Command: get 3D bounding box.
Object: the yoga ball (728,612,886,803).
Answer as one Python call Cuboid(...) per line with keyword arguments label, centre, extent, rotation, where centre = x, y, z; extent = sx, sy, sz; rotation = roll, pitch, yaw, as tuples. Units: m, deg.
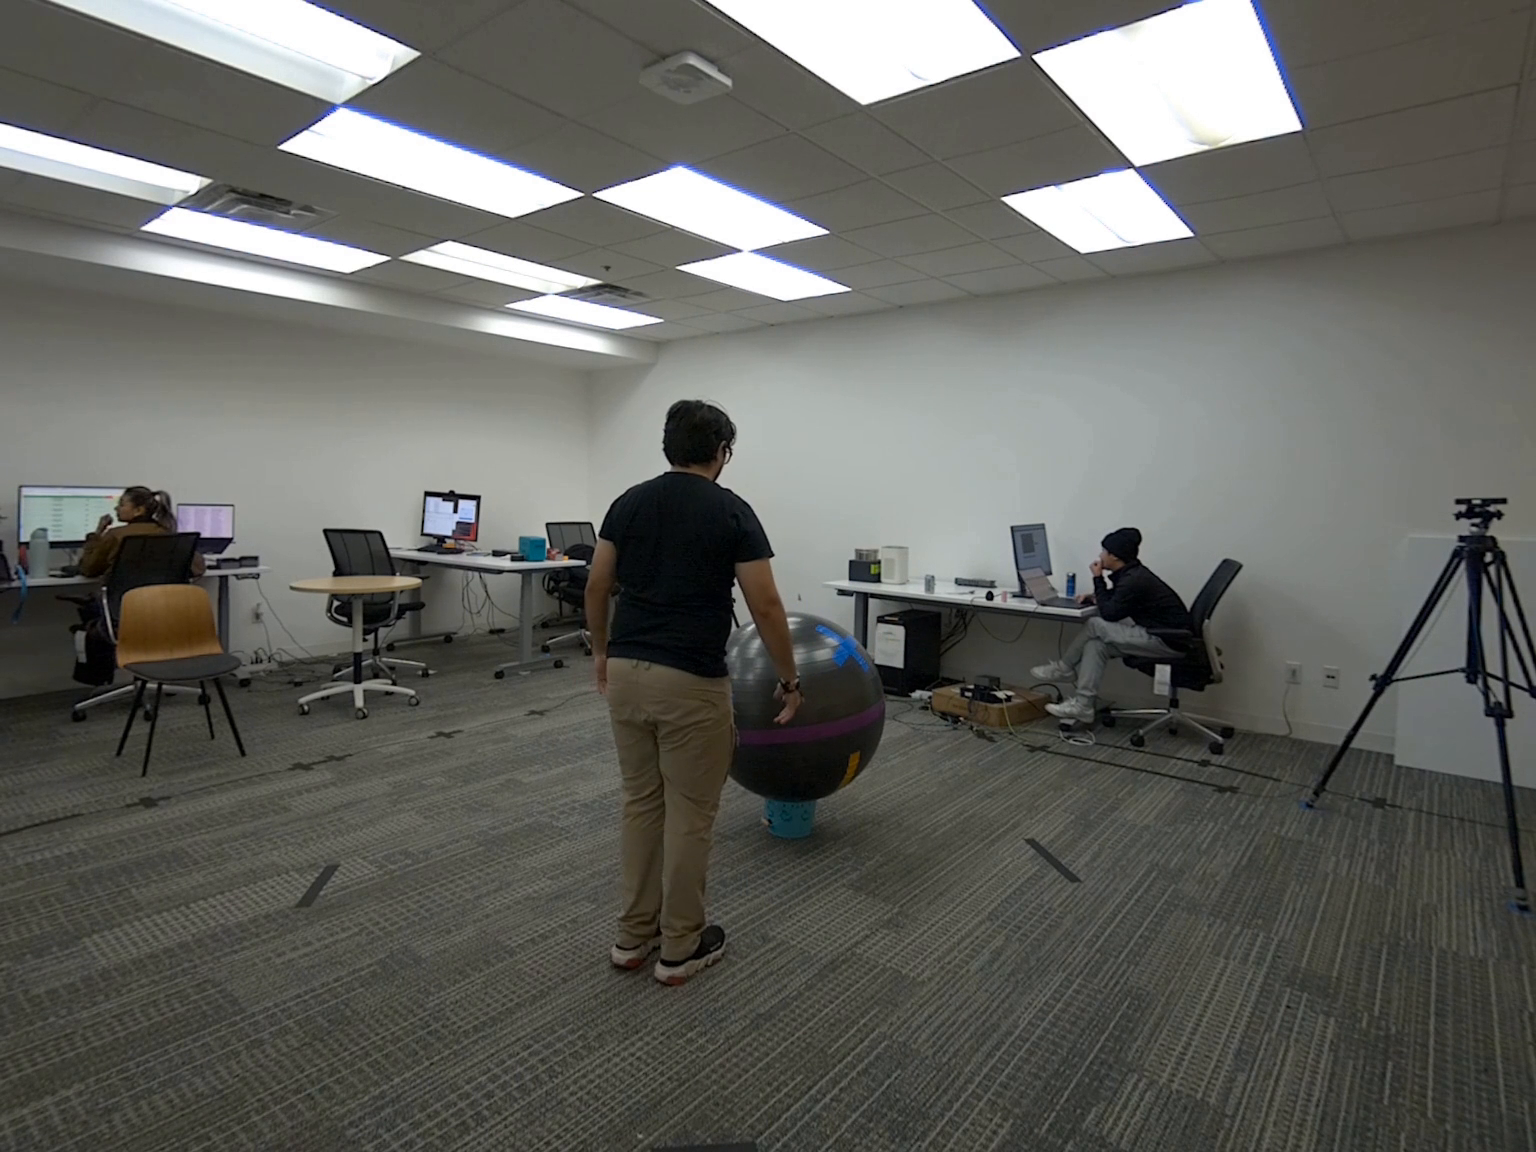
Cuboid(label="yoga ball", centre=(0.092, 0.525, 3.488), extent=(0.757, 0.755, 0.762), rotation=(1, 4, -2))
